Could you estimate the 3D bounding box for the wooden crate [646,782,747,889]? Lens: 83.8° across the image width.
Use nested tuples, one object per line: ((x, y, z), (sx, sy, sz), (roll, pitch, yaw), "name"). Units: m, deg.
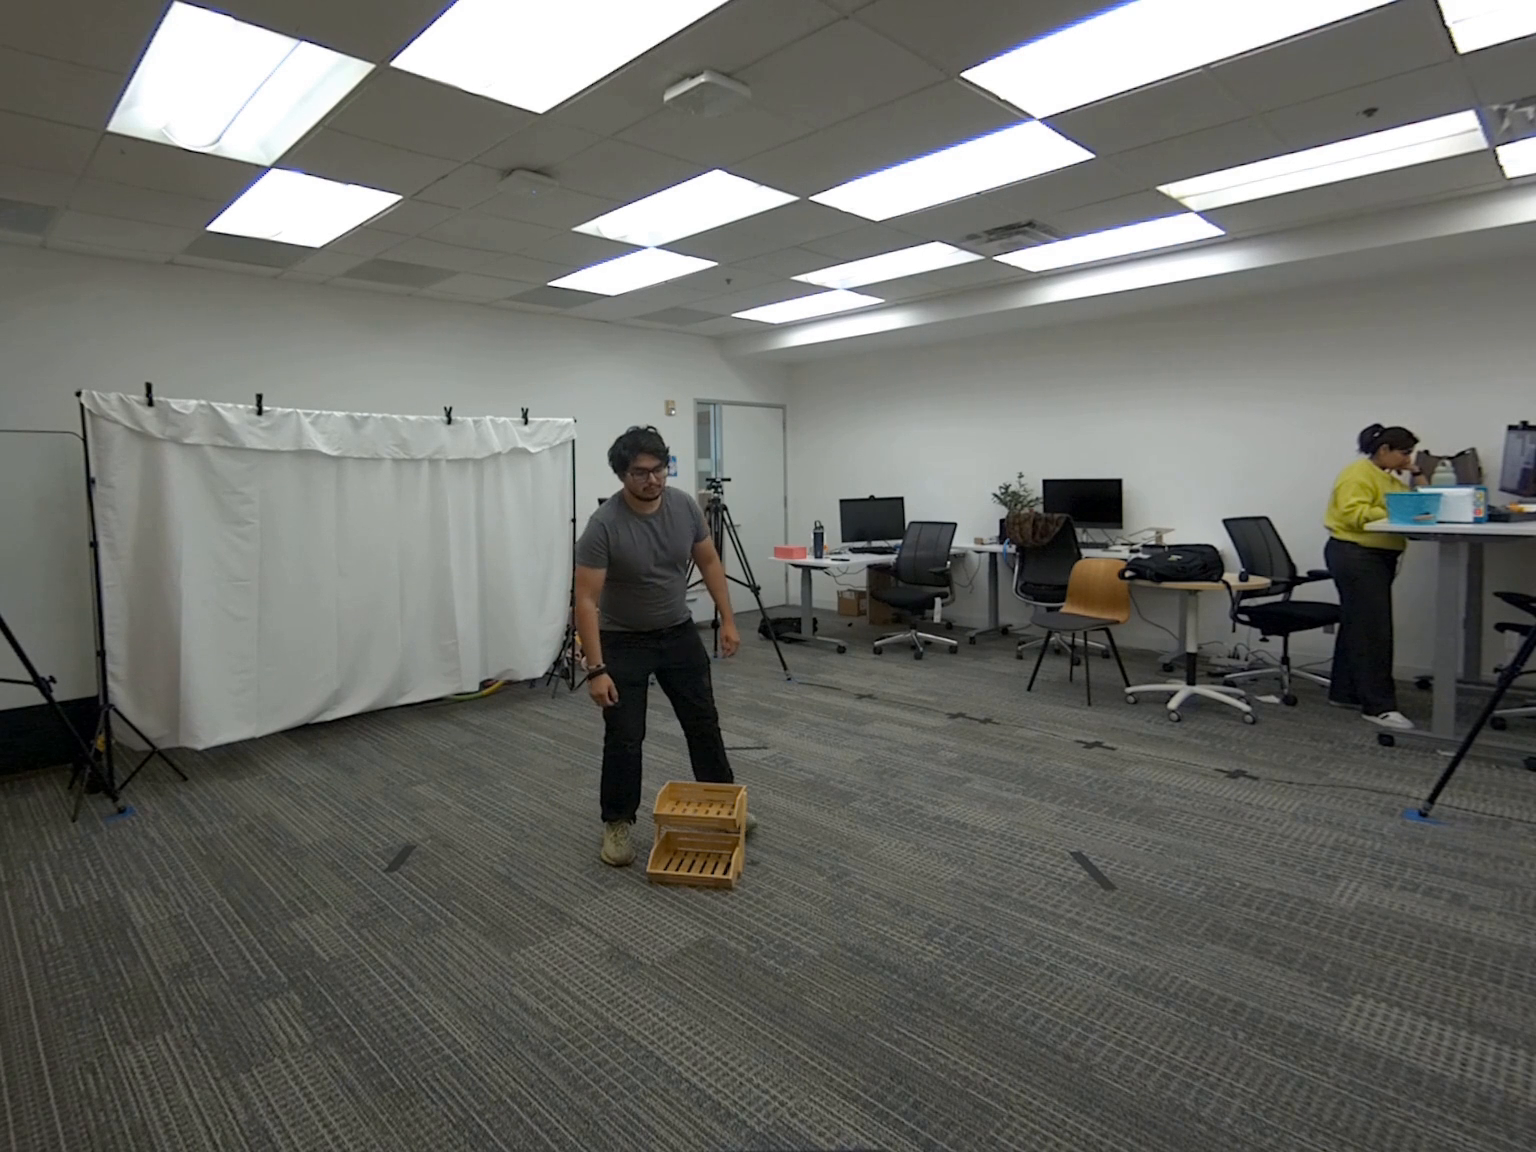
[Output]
((-0.245, 0.919, 3.057), (0.328, 0.272, 0.300), (0, 4, 10), "wooden crate")
